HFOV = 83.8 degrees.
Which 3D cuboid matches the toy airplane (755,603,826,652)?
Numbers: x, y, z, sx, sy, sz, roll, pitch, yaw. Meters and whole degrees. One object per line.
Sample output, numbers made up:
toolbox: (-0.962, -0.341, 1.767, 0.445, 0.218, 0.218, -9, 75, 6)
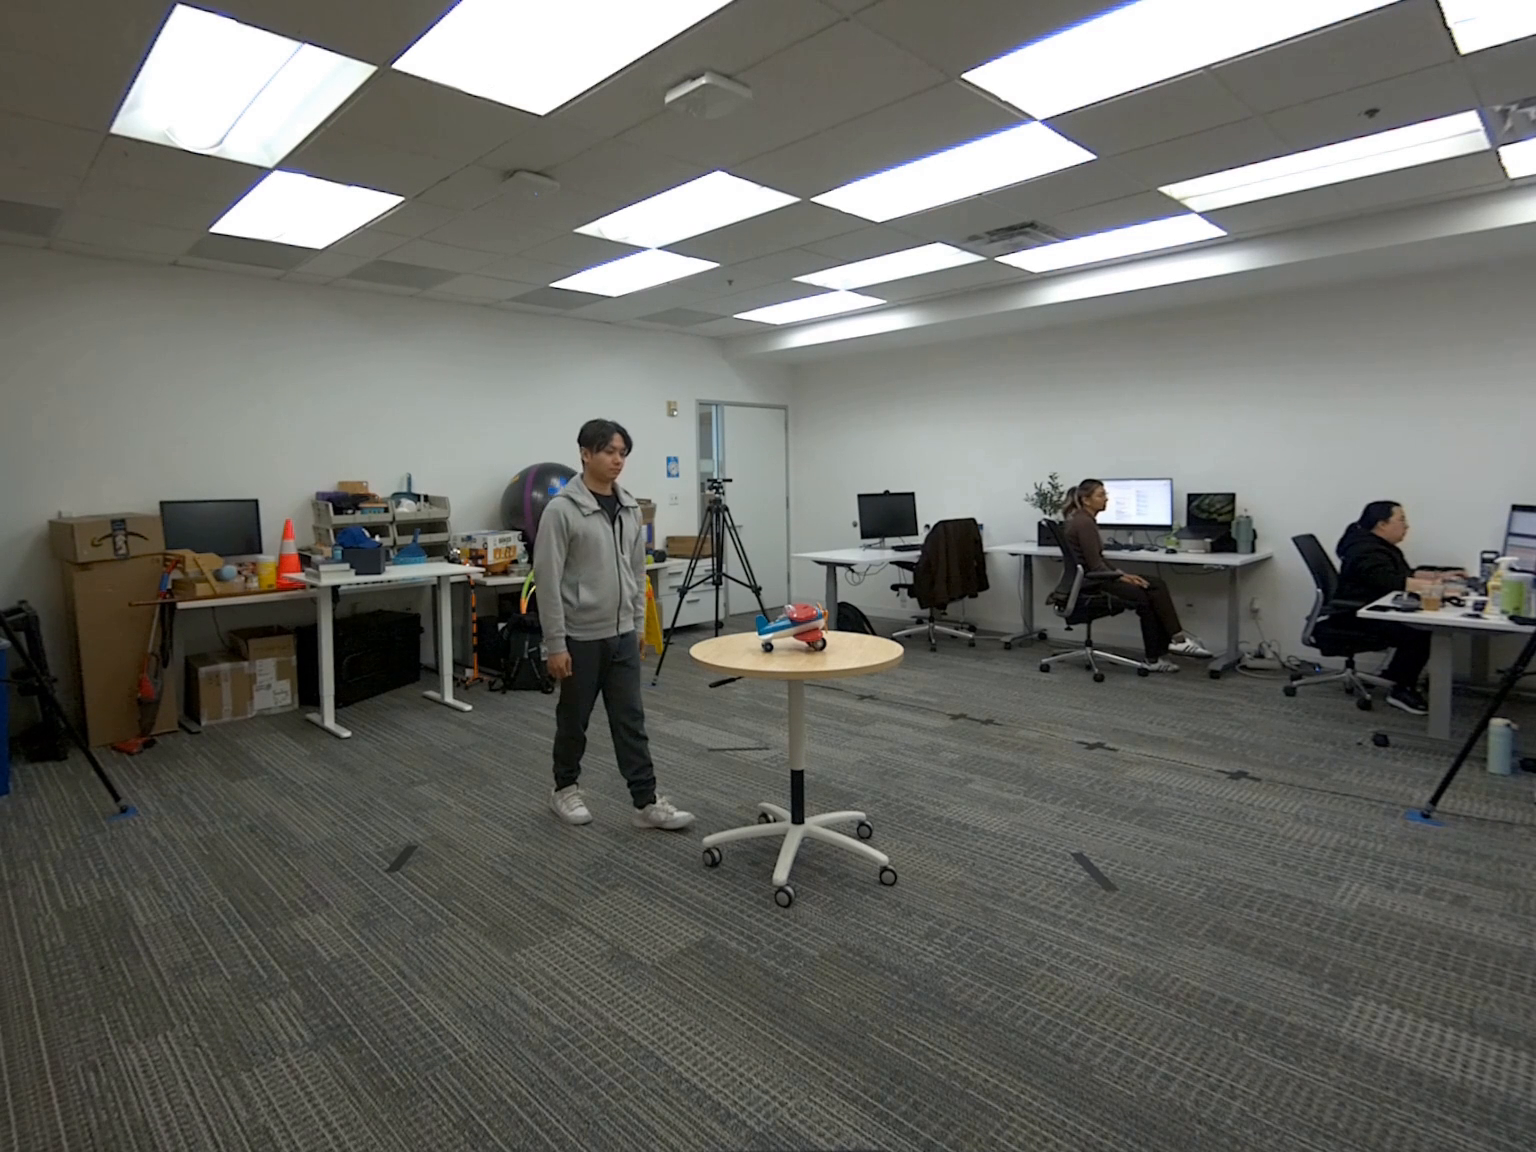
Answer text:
toy airplane: (0.095, 0.189, 3.034, 0.252, 0.156, 0.259, -5, 7, -37)
